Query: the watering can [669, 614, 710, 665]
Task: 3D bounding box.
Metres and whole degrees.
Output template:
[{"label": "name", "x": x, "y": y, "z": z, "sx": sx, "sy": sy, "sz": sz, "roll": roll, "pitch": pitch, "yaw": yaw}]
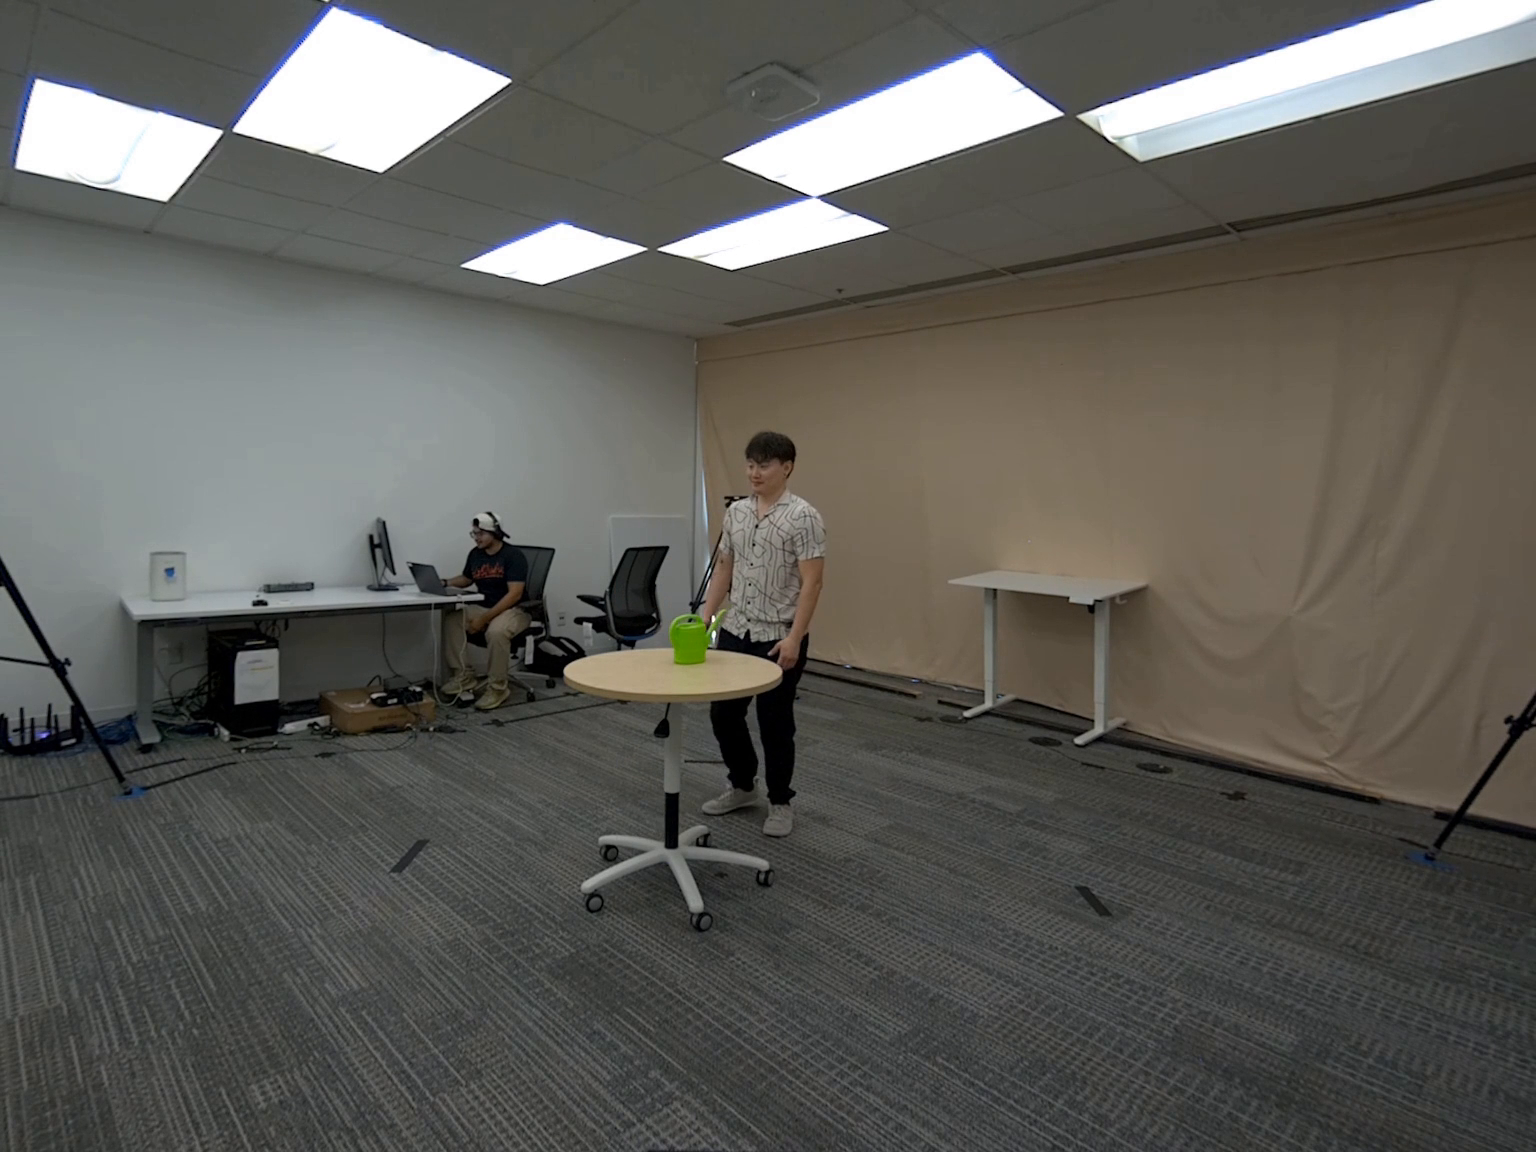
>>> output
[{"label": "watering can", "x": -0.268, "y": 0.226, "z": 3.111, "sx": 0.273, "sy": 0.176, "sz": 0.100, "roll": -5, "pitch": 7, "yaw": -33}]
